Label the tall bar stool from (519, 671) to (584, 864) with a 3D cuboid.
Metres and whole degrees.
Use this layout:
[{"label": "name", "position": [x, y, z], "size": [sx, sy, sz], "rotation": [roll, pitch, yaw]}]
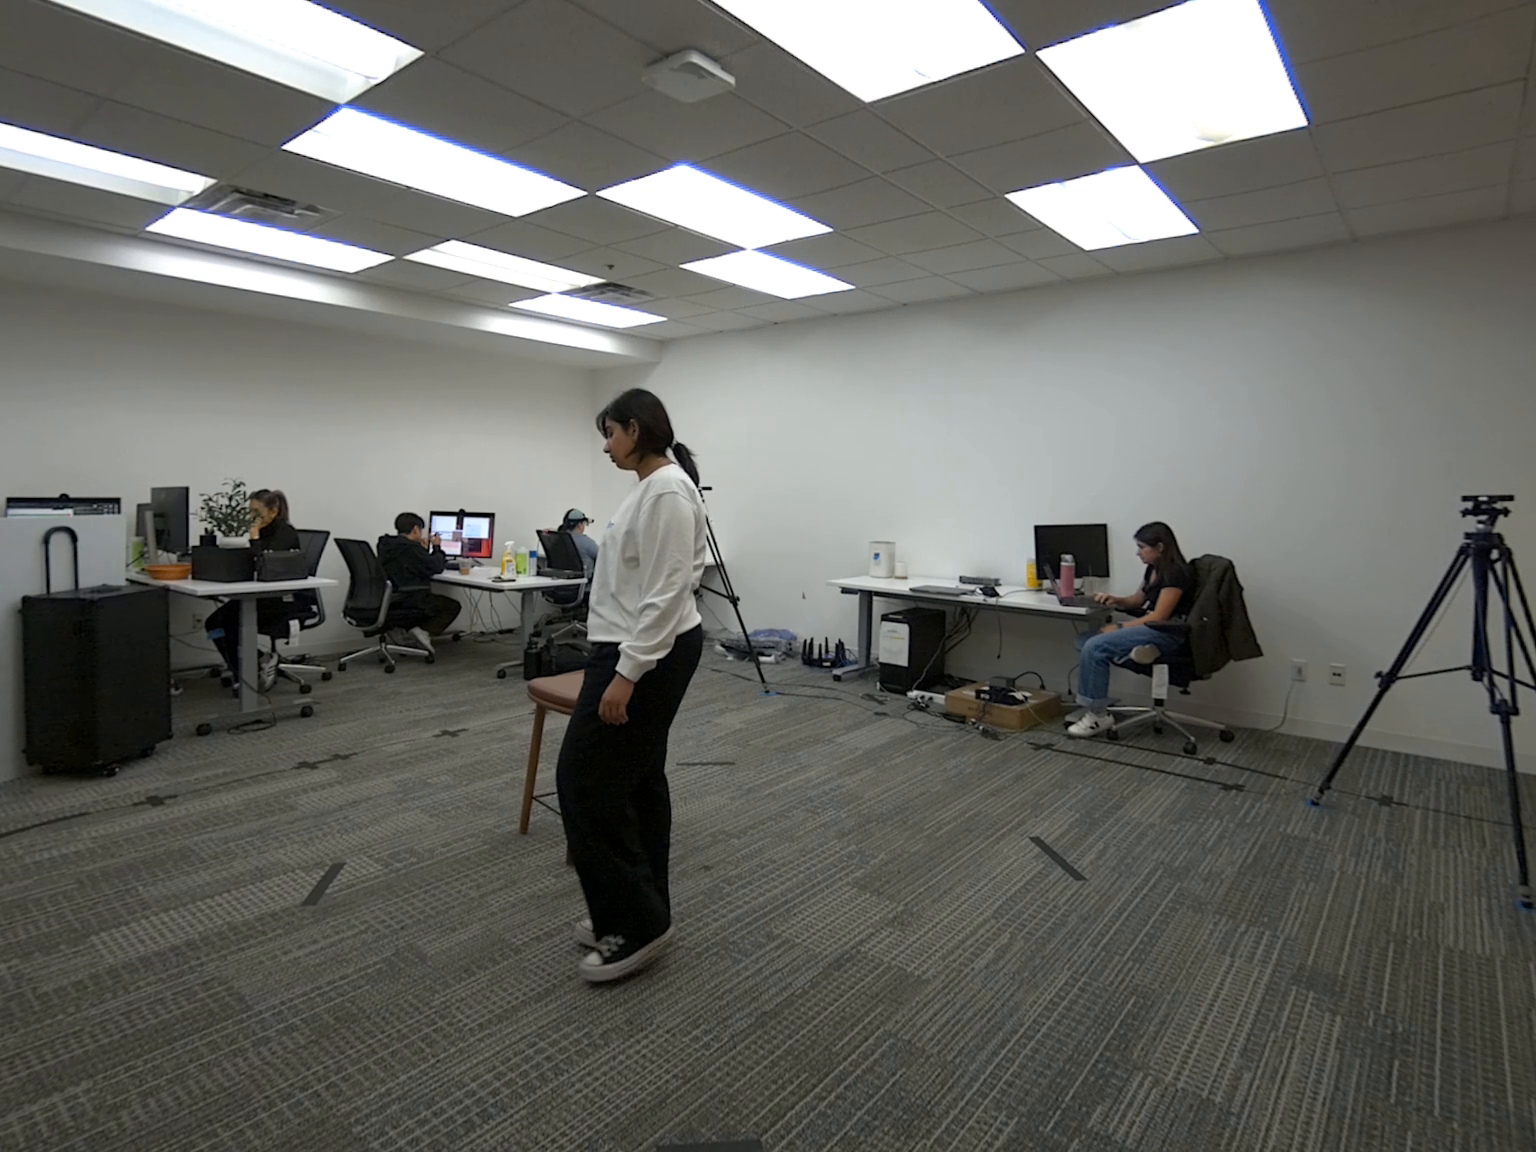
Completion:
[{"label": "tall bar stool", "position": [-0.686, 0.597, 3.375], "size": [0.453, 0.888, 0.472], "rotation": [1, 2, -42]}]
